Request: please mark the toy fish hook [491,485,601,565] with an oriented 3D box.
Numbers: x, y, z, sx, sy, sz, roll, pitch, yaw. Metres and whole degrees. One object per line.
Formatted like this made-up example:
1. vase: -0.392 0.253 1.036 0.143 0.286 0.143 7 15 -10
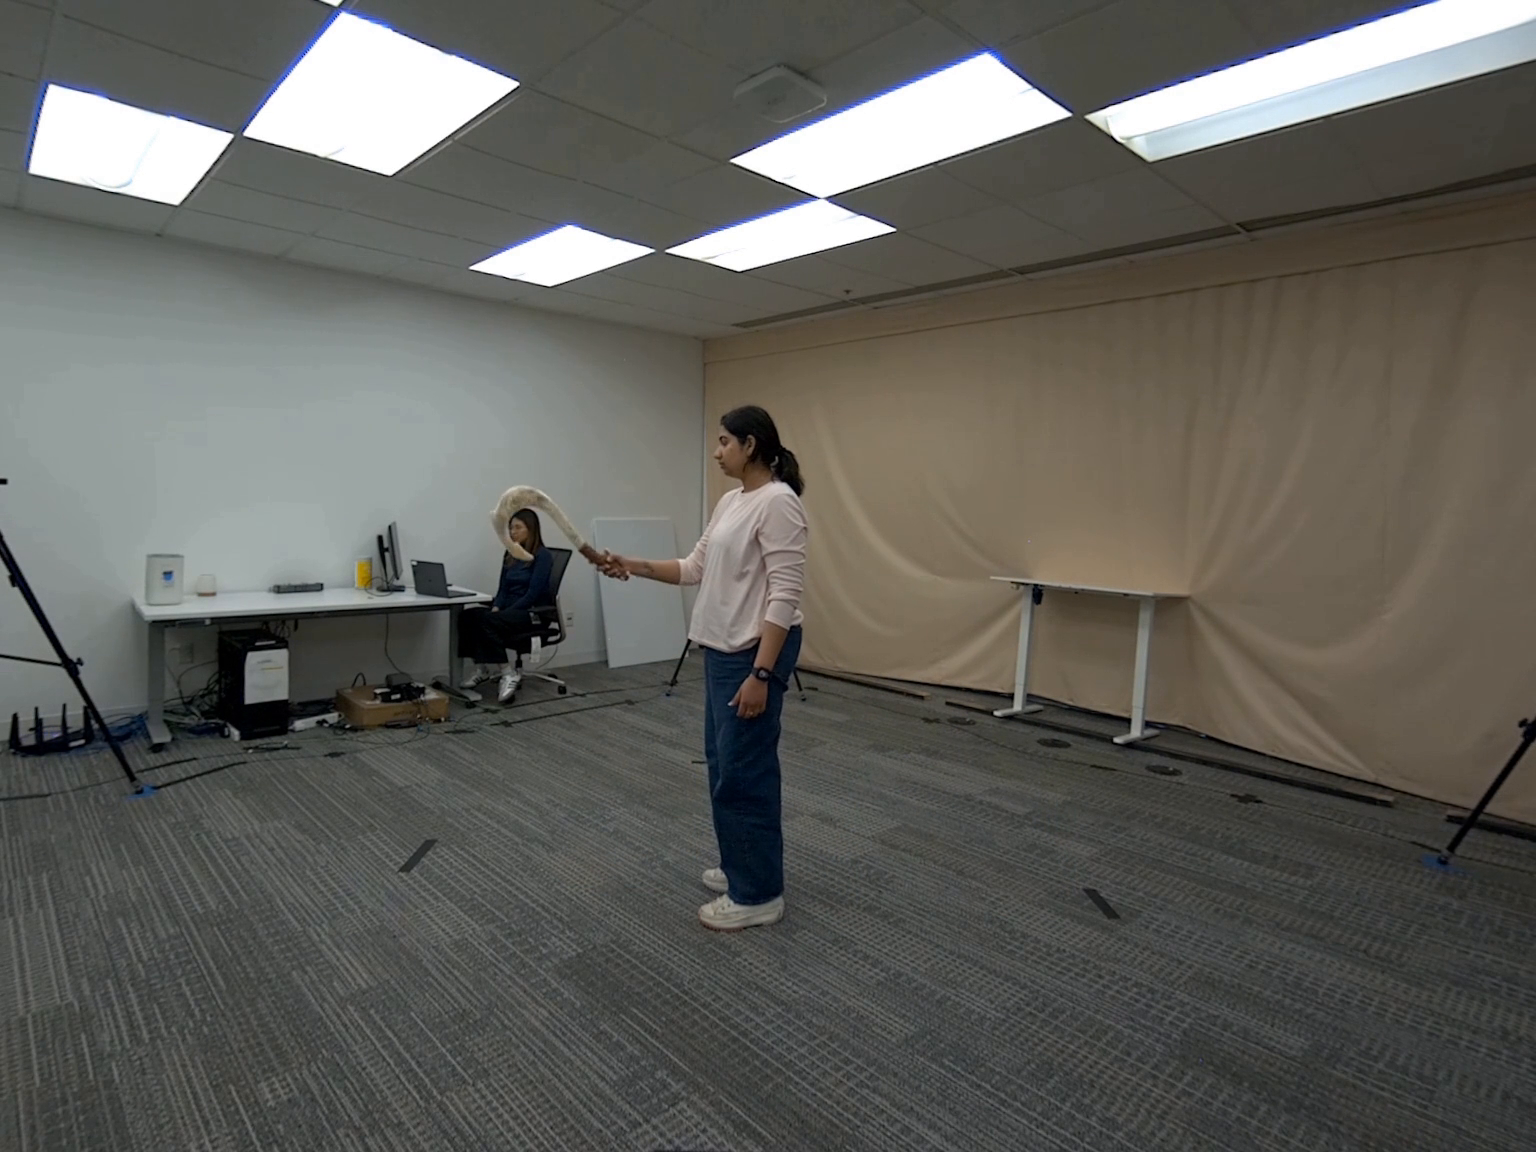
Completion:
1. toy fish hook: -0.680 -0.099 2.794 0.495 0.225 0.049 39 -17 -22
